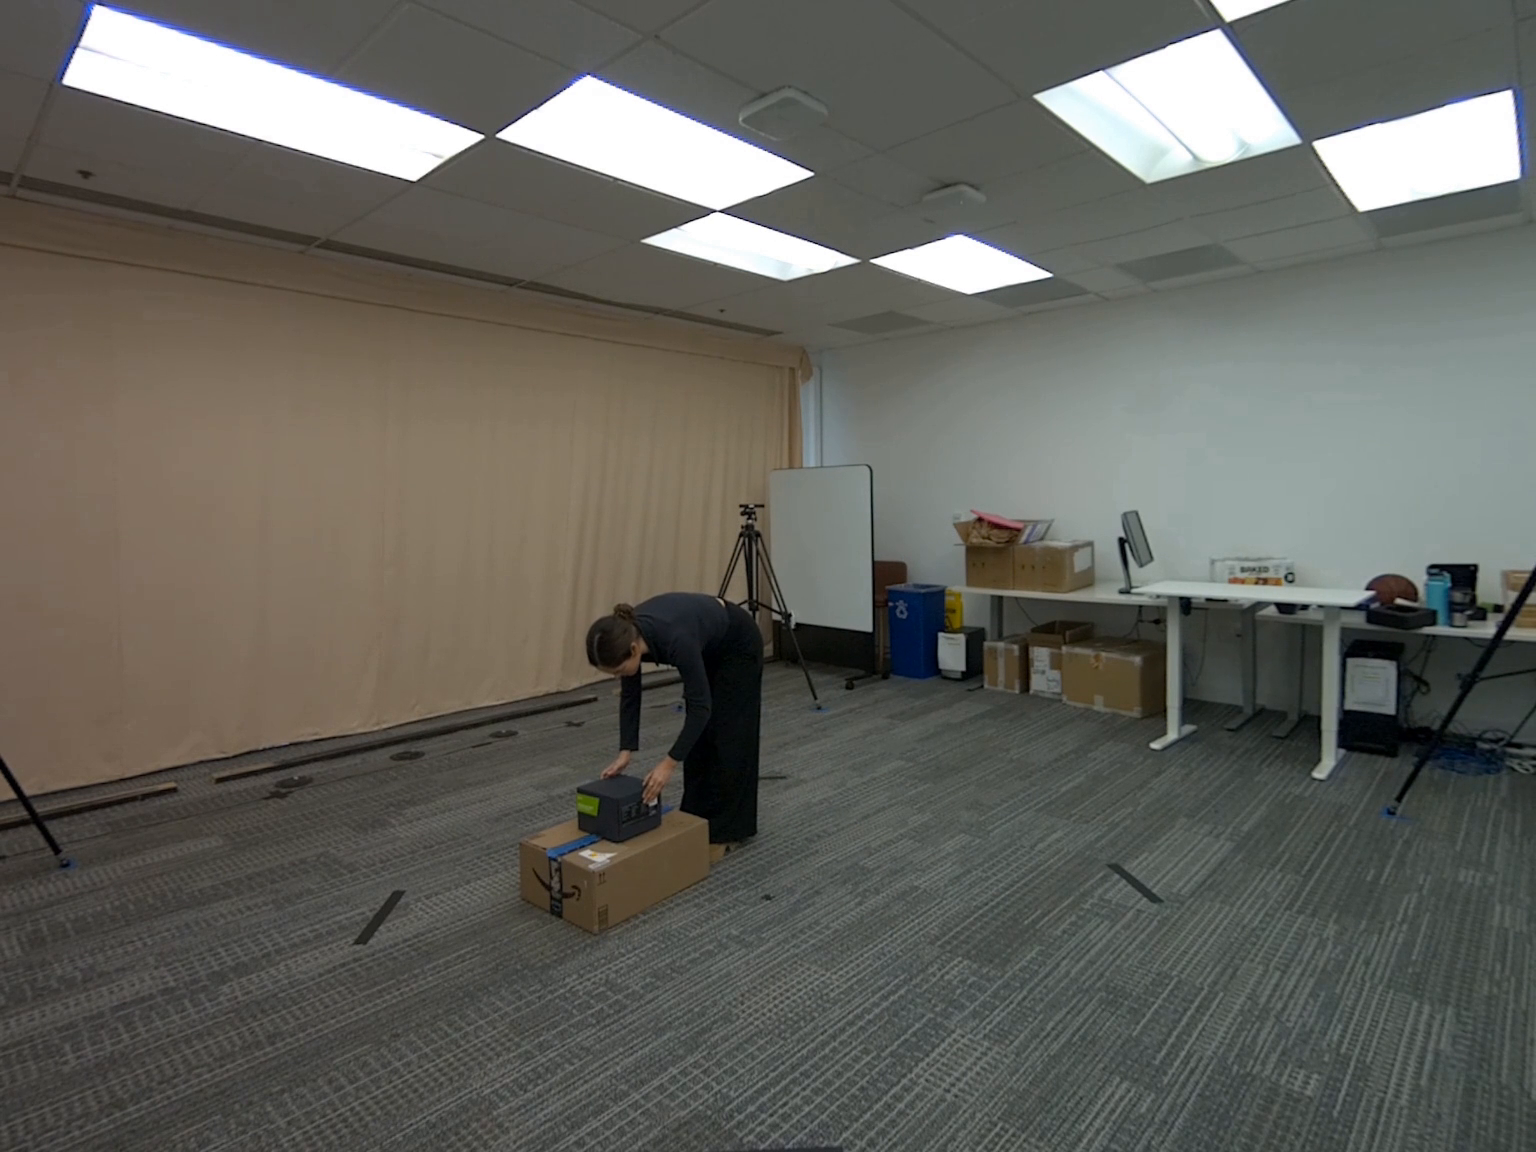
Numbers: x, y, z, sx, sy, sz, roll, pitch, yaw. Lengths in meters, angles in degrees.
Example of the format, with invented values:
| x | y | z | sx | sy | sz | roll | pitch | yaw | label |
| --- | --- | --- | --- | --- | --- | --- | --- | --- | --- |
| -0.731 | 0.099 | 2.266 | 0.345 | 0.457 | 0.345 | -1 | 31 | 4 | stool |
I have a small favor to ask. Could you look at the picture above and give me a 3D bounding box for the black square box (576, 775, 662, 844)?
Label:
| x | y | z | sx | sy | sz | roll | pitch | yaw | label |
| --- | --- | --- | --- | --- | --- | --- | --- | --- | --- |
| -0.547 | 0.843 | 3.096 | 0.235 | 0.156 | 0.210 | -1 | 3 | 39 | black square box |
